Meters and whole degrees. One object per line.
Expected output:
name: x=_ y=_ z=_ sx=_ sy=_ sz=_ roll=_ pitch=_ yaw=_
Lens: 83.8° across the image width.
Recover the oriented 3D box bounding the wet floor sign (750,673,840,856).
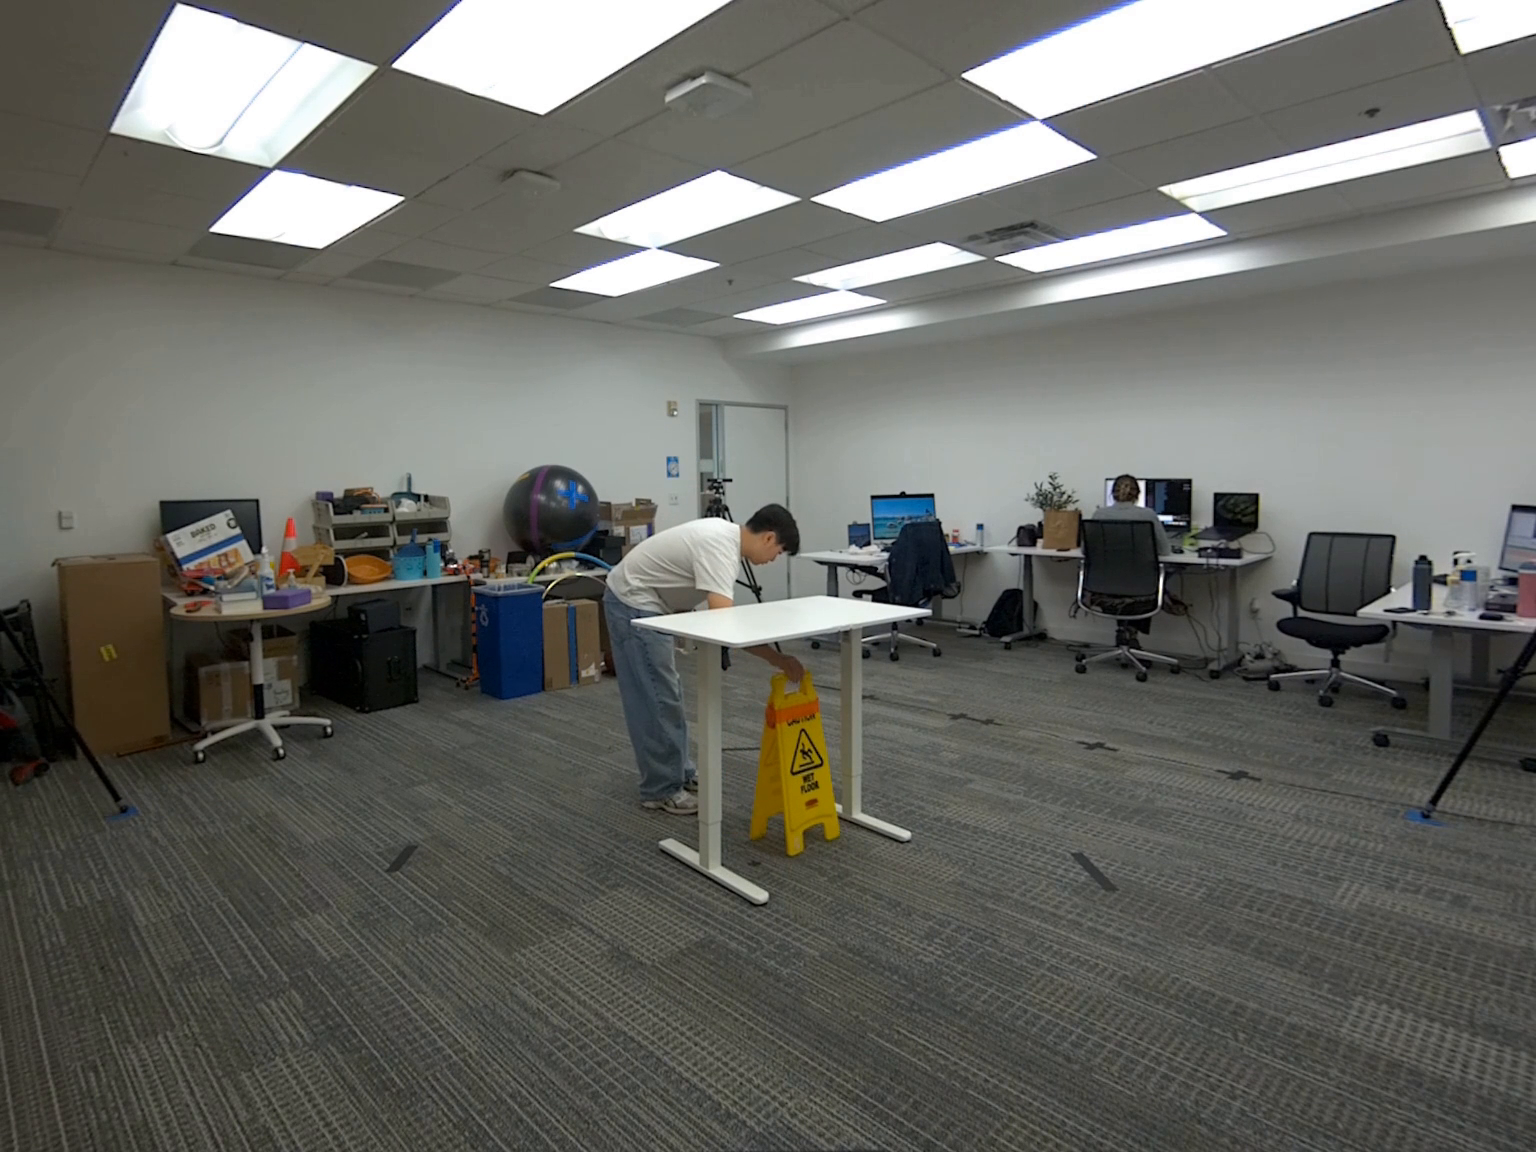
wet floor sign: x=0.098 y=0.690 z=3.300 sx=0.275 sy=0.644 sz=0.298 roll=-5 pitch=5 yaw=-41
